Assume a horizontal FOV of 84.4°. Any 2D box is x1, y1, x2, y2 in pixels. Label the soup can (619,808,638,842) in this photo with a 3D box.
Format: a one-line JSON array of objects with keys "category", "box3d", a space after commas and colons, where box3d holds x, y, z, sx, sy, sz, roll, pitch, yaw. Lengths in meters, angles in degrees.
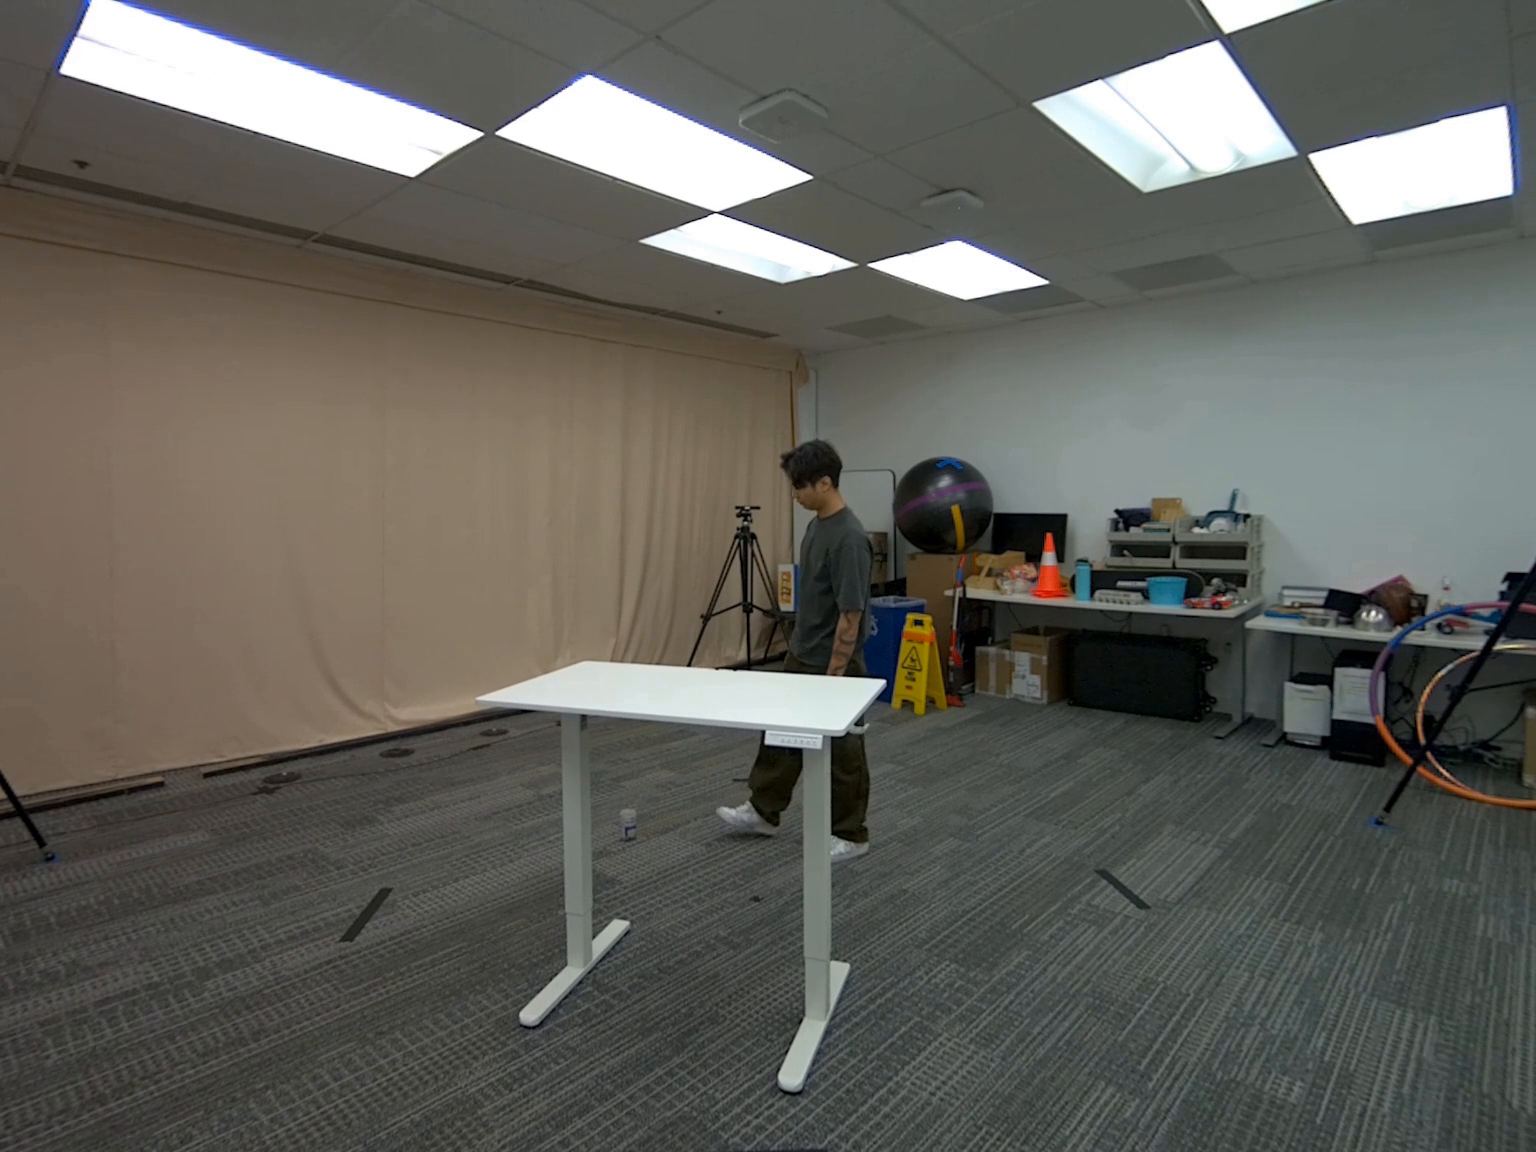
[{"category": "soup can", "box3d": [-0.584, 1.050, 3.525, 0.067, 0.121, 0.067, -1, 3, -2]}]
